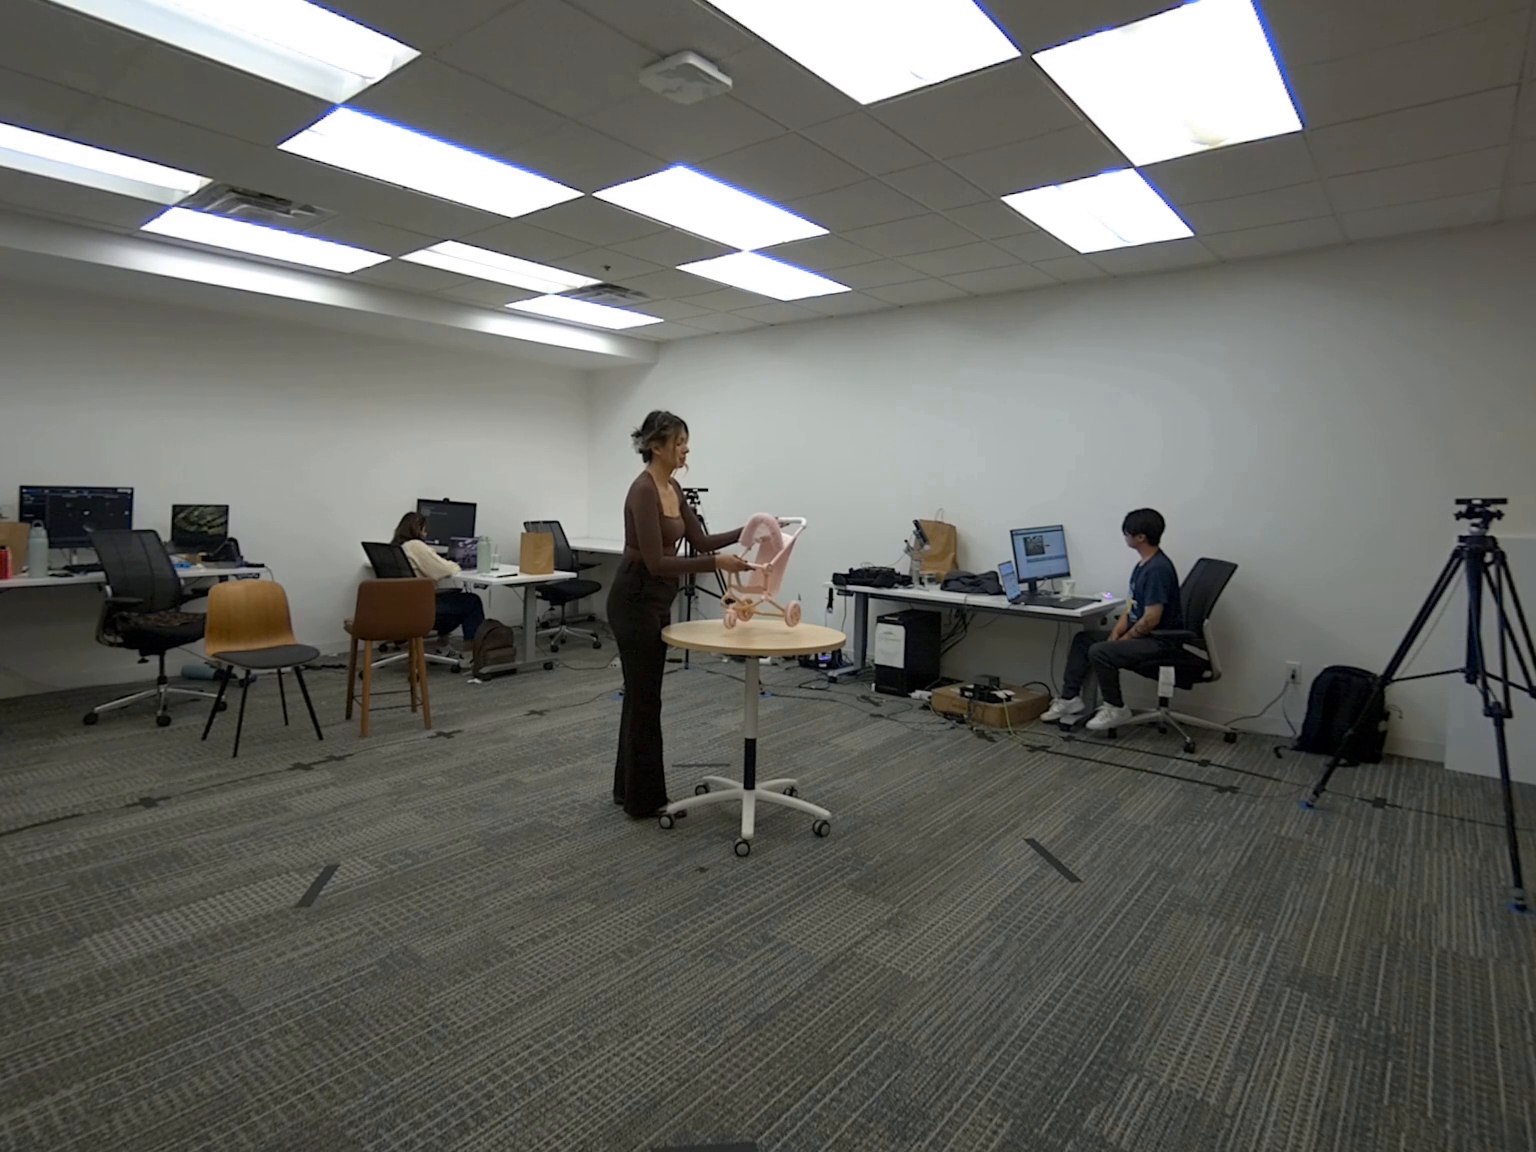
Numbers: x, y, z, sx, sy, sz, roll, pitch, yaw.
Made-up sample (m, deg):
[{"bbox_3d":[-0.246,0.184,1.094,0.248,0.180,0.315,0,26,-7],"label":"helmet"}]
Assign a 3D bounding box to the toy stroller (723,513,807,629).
[{"bbox_3d":[-0.044,-0.027,3.542,0.291,0.538,0.328,2,-12,44],"label":"toy stroller"}]
